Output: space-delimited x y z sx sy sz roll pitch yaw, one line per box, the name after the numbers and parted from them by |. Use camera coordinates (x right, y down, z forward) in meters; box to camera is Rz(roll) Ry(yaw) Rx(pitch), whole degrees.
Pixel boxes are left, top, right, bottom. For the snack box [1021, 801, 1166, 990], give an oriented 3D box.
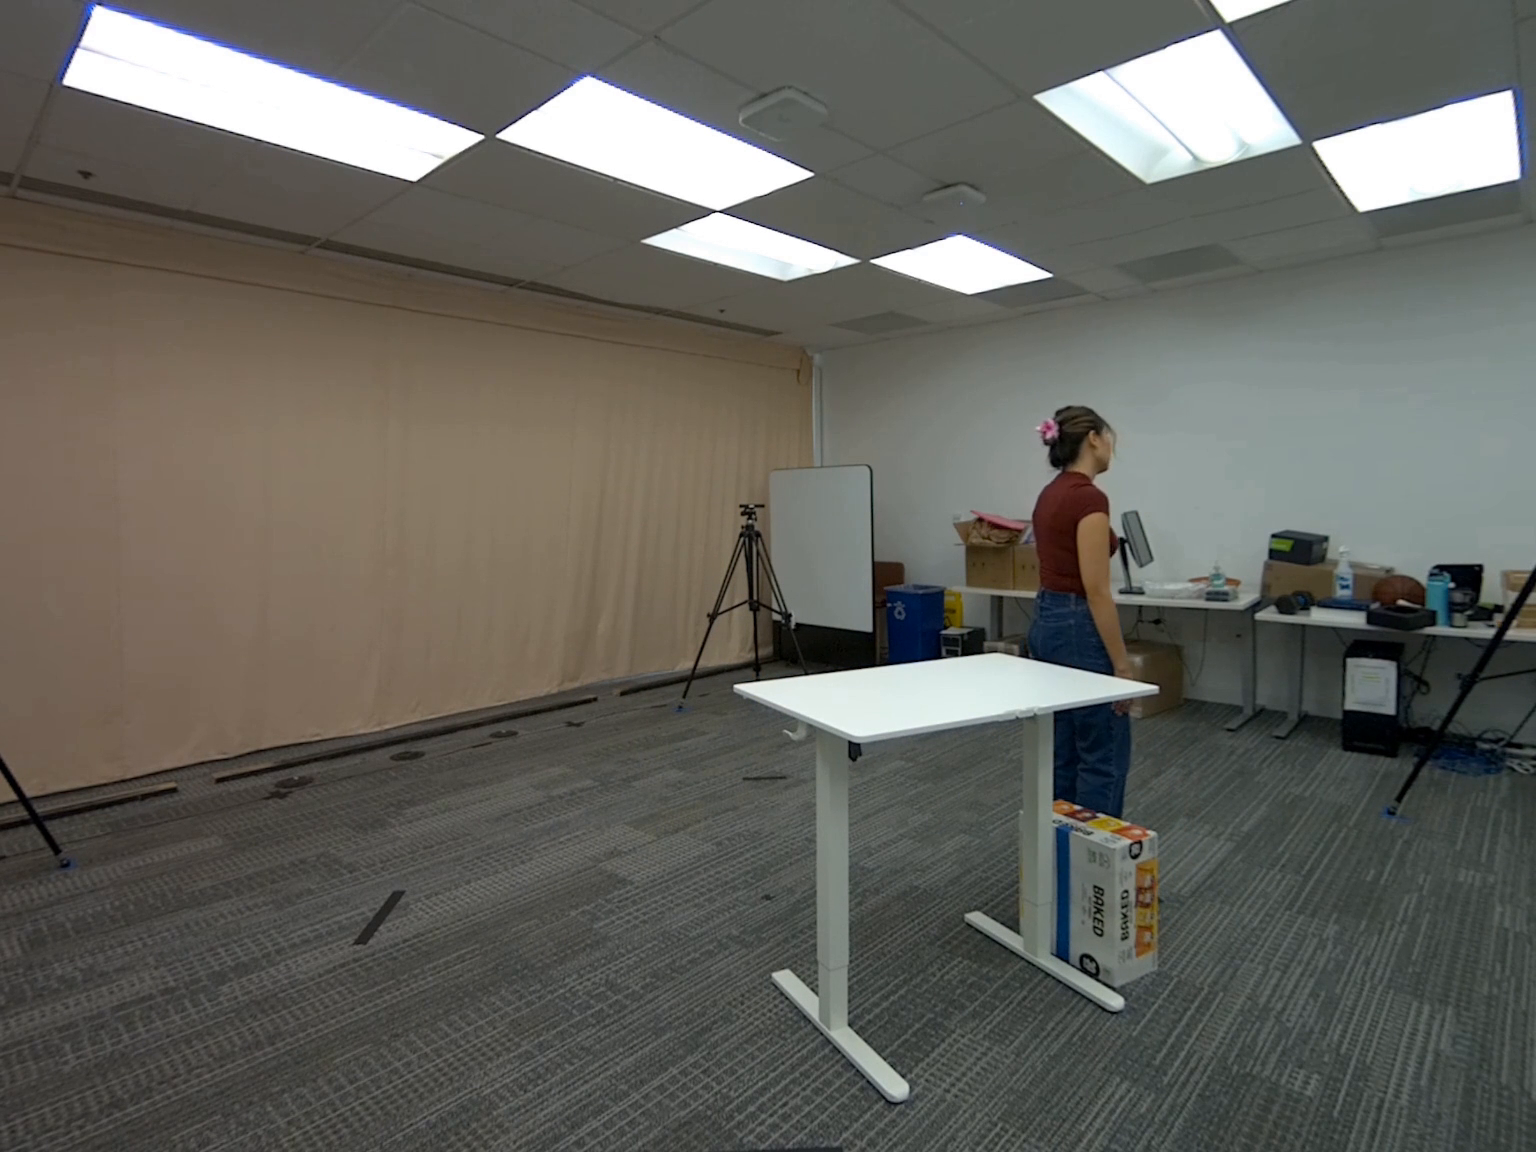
0.981 0.946 2.576 0.200 0.404 0.350 -3 3 -31 | snack box
